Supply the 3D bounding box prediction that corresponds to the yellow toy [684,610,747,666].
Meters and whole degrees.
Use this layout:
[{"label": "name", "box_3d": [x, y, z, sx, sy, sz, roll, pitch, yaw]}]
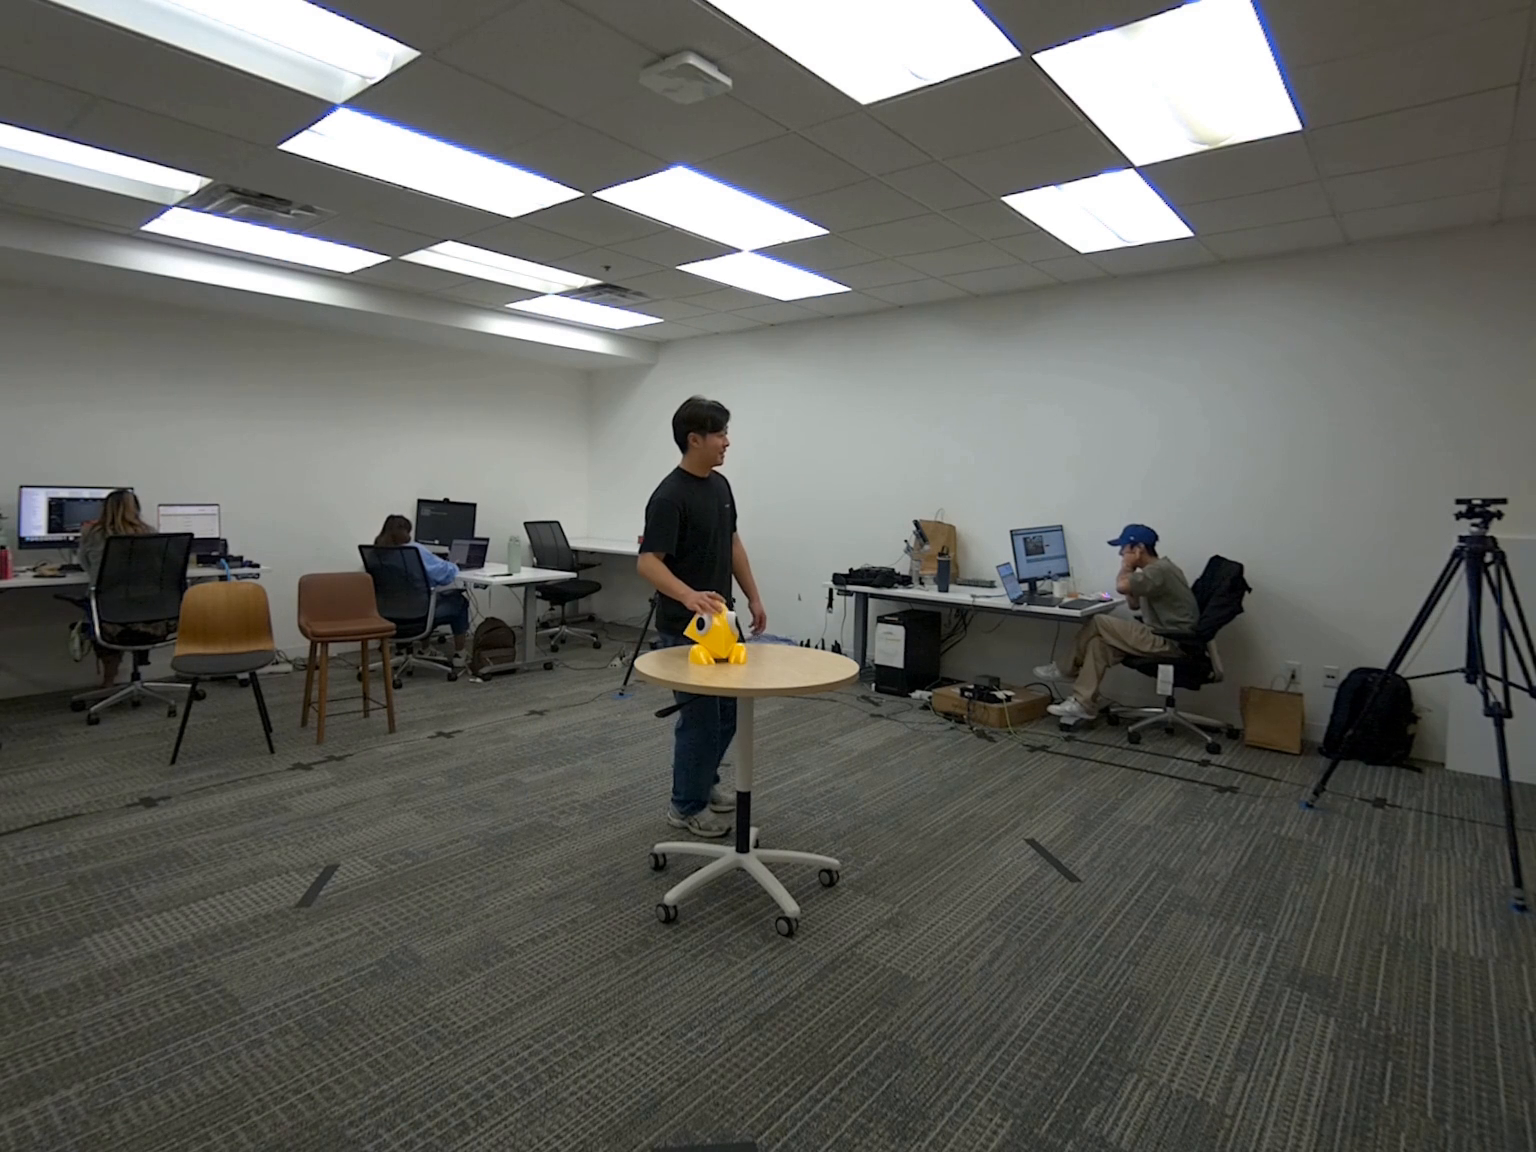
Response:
[{"label": "yellow toy", "box_3d": [-0.181, 0.173, 2.958, 0.201, 0.230, 0.197, 1, 3, -16]}]
